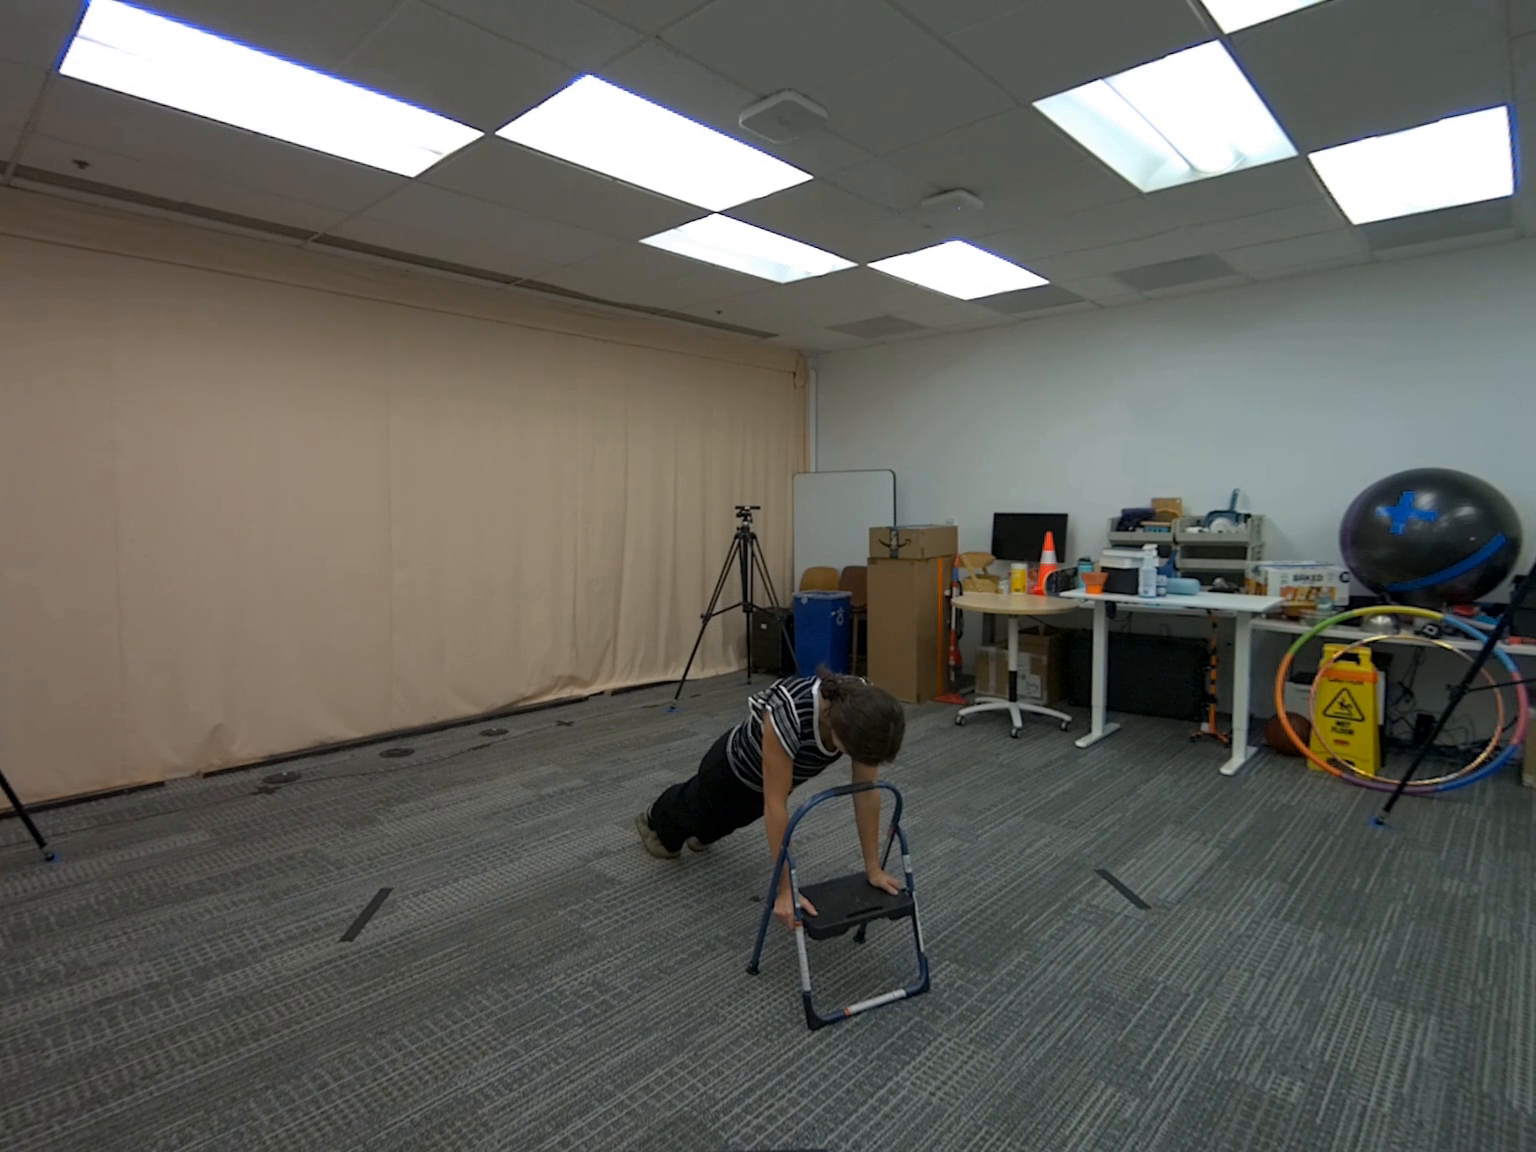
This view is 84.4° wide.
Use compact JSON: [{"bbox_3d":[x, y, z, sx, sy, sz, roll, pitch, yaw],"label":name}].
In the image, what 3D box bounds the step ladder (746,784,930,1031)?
[{"bbox_3d":[0.211,0.888,2.454,0.419,0.604,0.359,-2,4,-30],"label":"step ladder"}]
